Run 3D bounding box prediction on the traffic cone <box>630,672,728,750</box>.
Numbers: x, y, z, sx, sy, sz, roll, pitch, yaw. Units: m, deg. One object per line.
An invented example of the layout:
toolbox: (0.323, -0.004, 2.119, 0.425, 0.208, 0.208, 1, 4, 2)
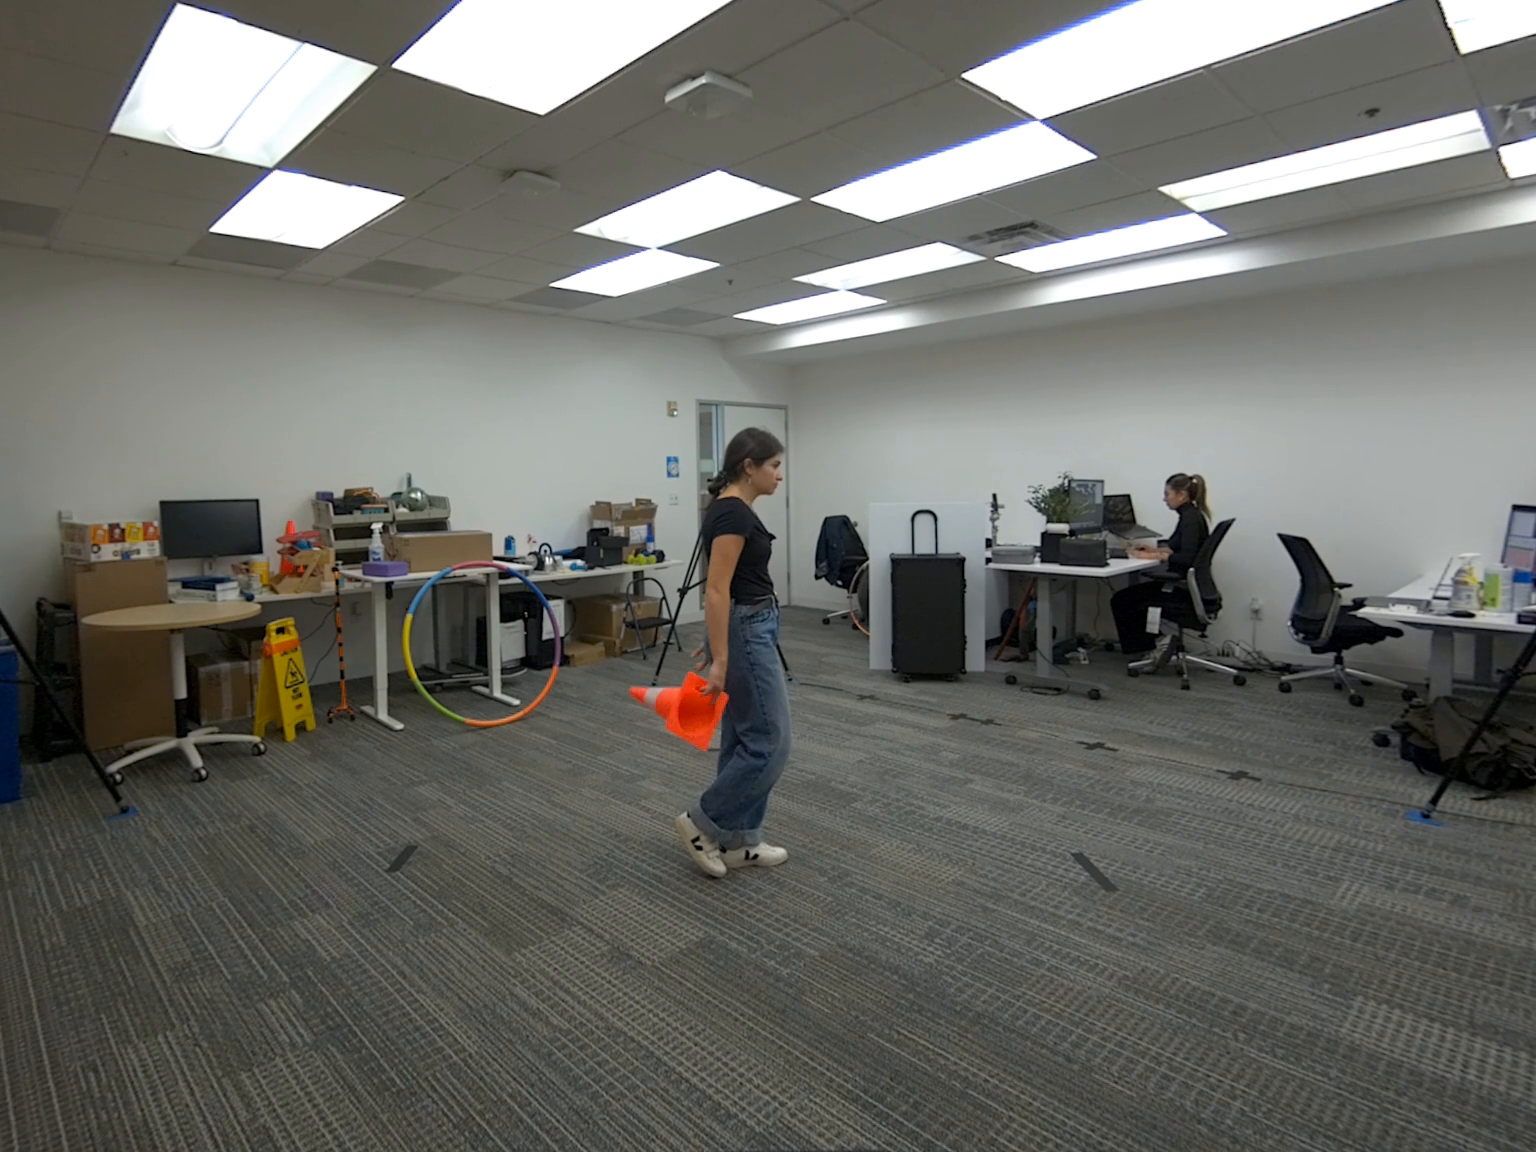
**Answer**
traffic cone: (-0.329, 0.417, 2.923, 0.395, 0.206, 0.196, 4, -31, 49)
